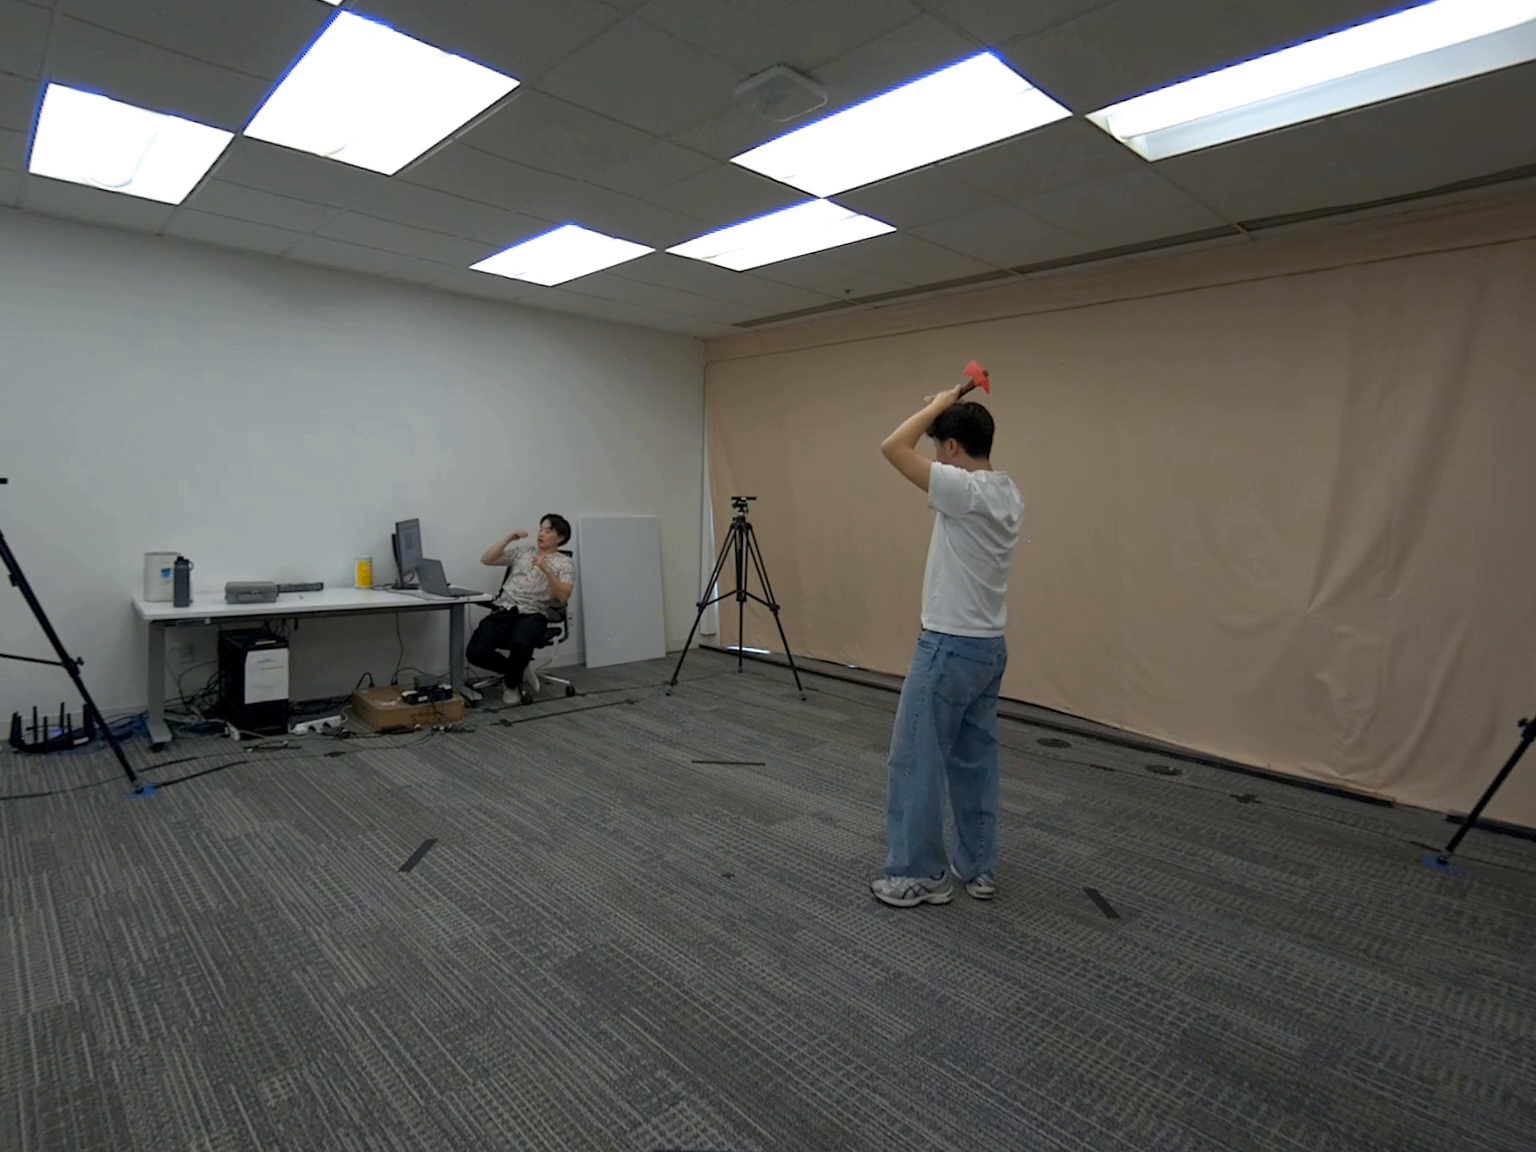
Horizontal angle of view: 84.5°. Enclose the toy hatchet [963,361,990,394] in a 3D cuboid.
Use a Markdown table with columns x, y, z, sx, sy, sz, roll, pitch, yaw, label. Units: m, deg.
| x | y | z | sx | sy | sz | roll | pitch | yaw | label |
| --- | --- | --- | --- | --- | --- | --- | --- | --- | --- |
| 0.661 | -0.673 | 2.968 | 0.029 | 0.131 | 0.275 | -8 | 0 | -38 | toy hatchet |
